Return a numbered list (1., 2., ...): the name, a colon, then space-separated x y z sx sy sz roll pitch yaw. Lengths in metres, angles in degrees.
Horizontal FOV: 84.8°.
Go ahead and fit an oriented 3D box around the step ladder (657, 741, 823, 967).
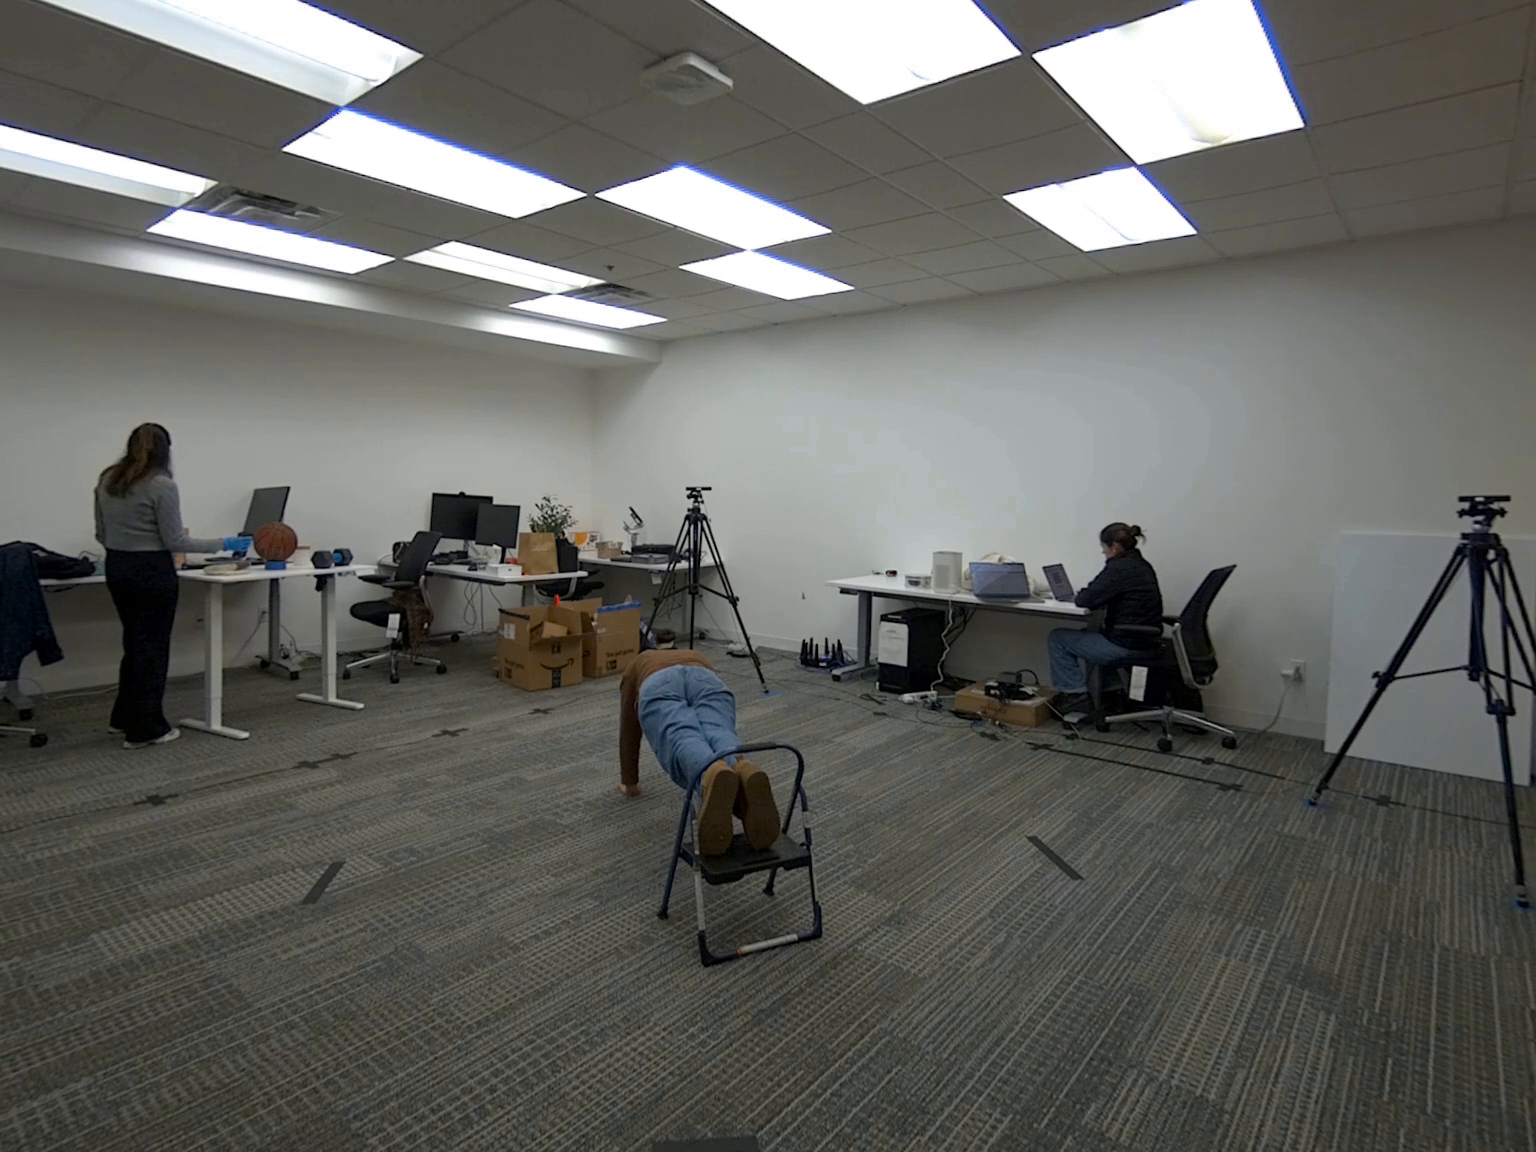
1. step ladder: -0.092 0.809 2.687 0.419 0.604 0.360 -1 4 -29
